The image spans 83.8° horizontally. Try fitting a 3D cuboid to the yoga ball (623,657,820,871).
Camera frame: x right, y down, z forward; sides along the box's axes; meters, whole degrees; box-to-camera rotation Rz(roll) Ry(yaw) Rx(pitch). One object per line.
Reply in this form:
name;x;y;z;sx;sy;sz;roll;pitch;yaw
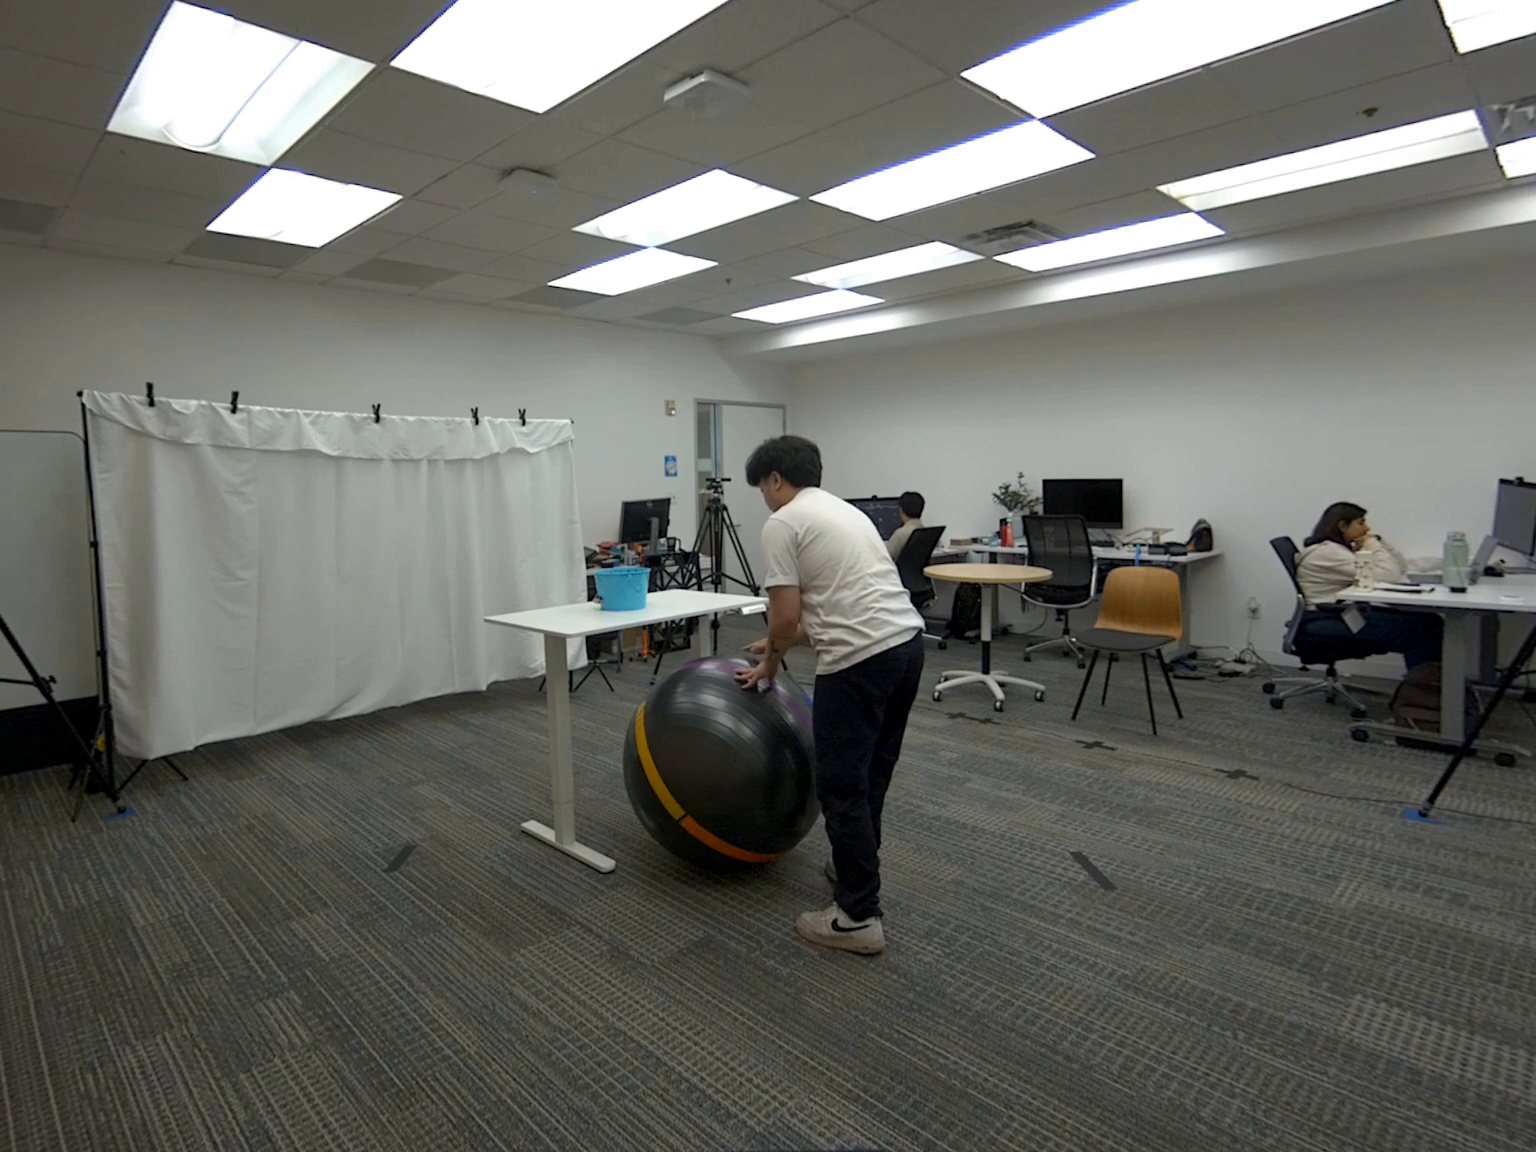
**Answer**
yoga ball;-0.158;0.680;3.127;0.757;0.755;0.762;-1;5;-2
